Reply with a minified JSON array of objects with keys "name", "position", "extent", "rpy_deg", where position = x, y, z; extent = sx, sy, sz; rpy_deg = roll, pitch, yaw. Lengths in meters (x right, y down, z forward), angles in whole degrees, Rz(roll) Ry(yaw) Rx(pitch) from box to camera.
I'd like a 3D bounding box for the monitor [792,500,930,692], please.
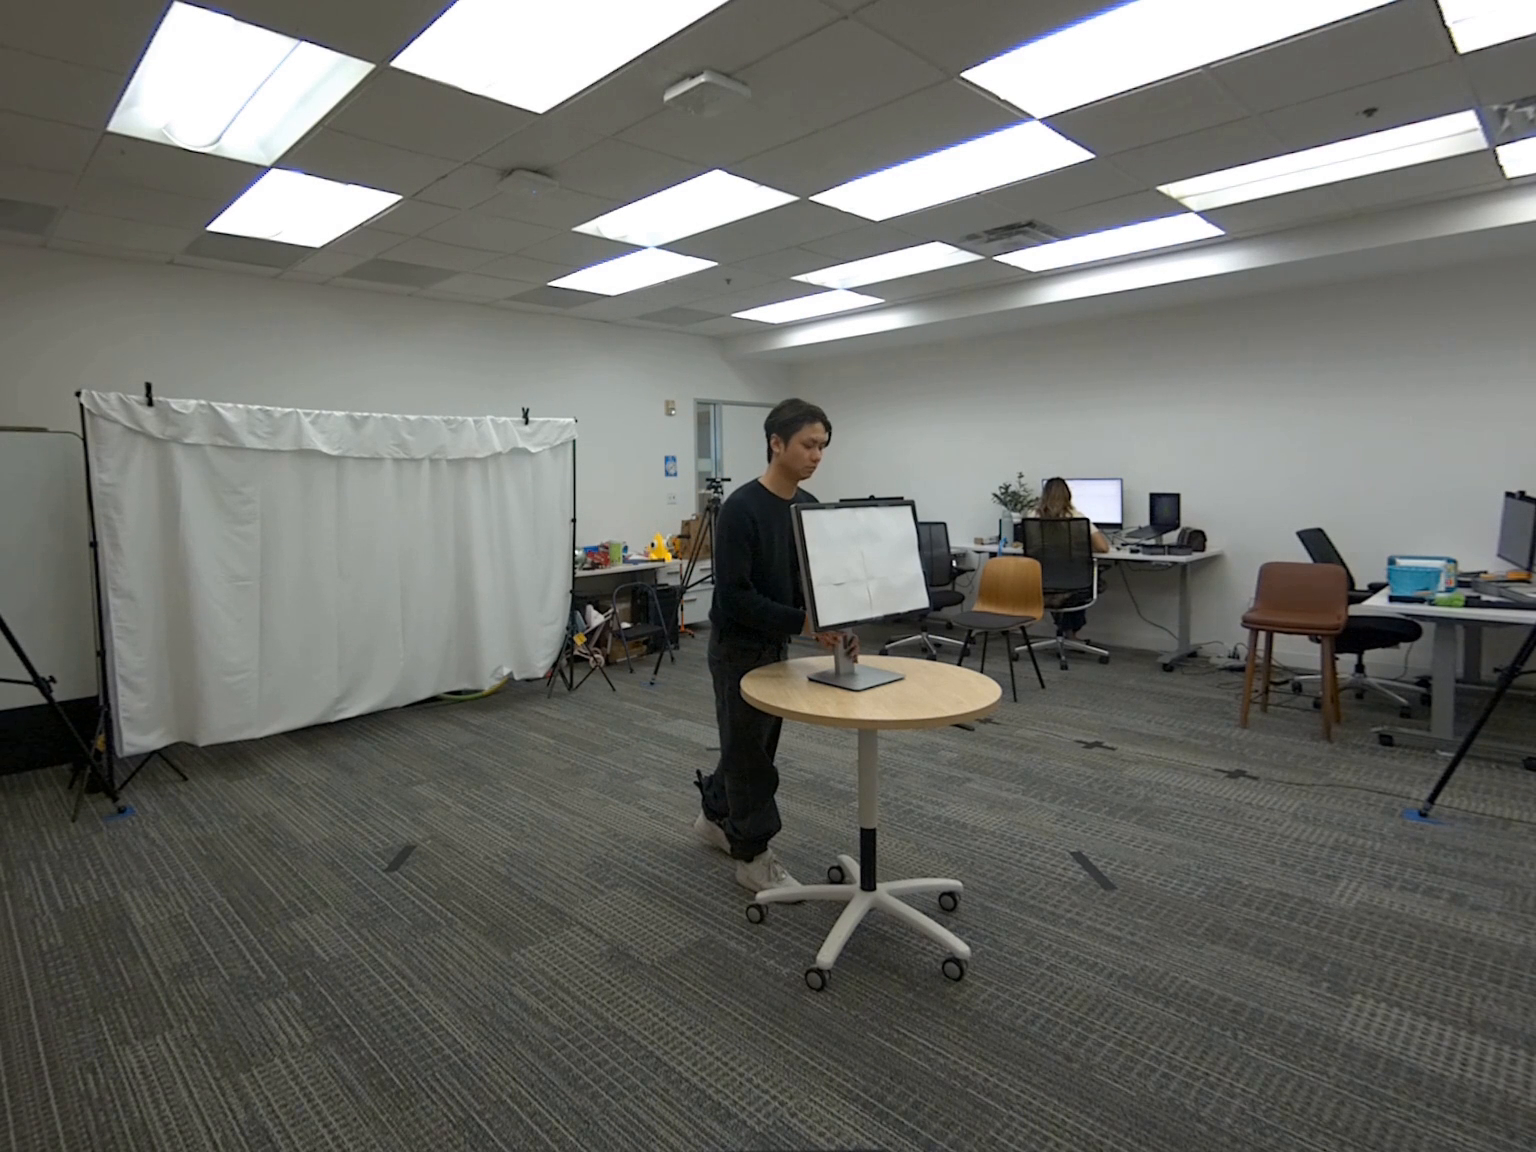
[{"name":"monitor","position":[0.273,0.048,2.586],"extent":[0.515,0.513,0.180],"rpy_deg":[-3,8,-44]}]
